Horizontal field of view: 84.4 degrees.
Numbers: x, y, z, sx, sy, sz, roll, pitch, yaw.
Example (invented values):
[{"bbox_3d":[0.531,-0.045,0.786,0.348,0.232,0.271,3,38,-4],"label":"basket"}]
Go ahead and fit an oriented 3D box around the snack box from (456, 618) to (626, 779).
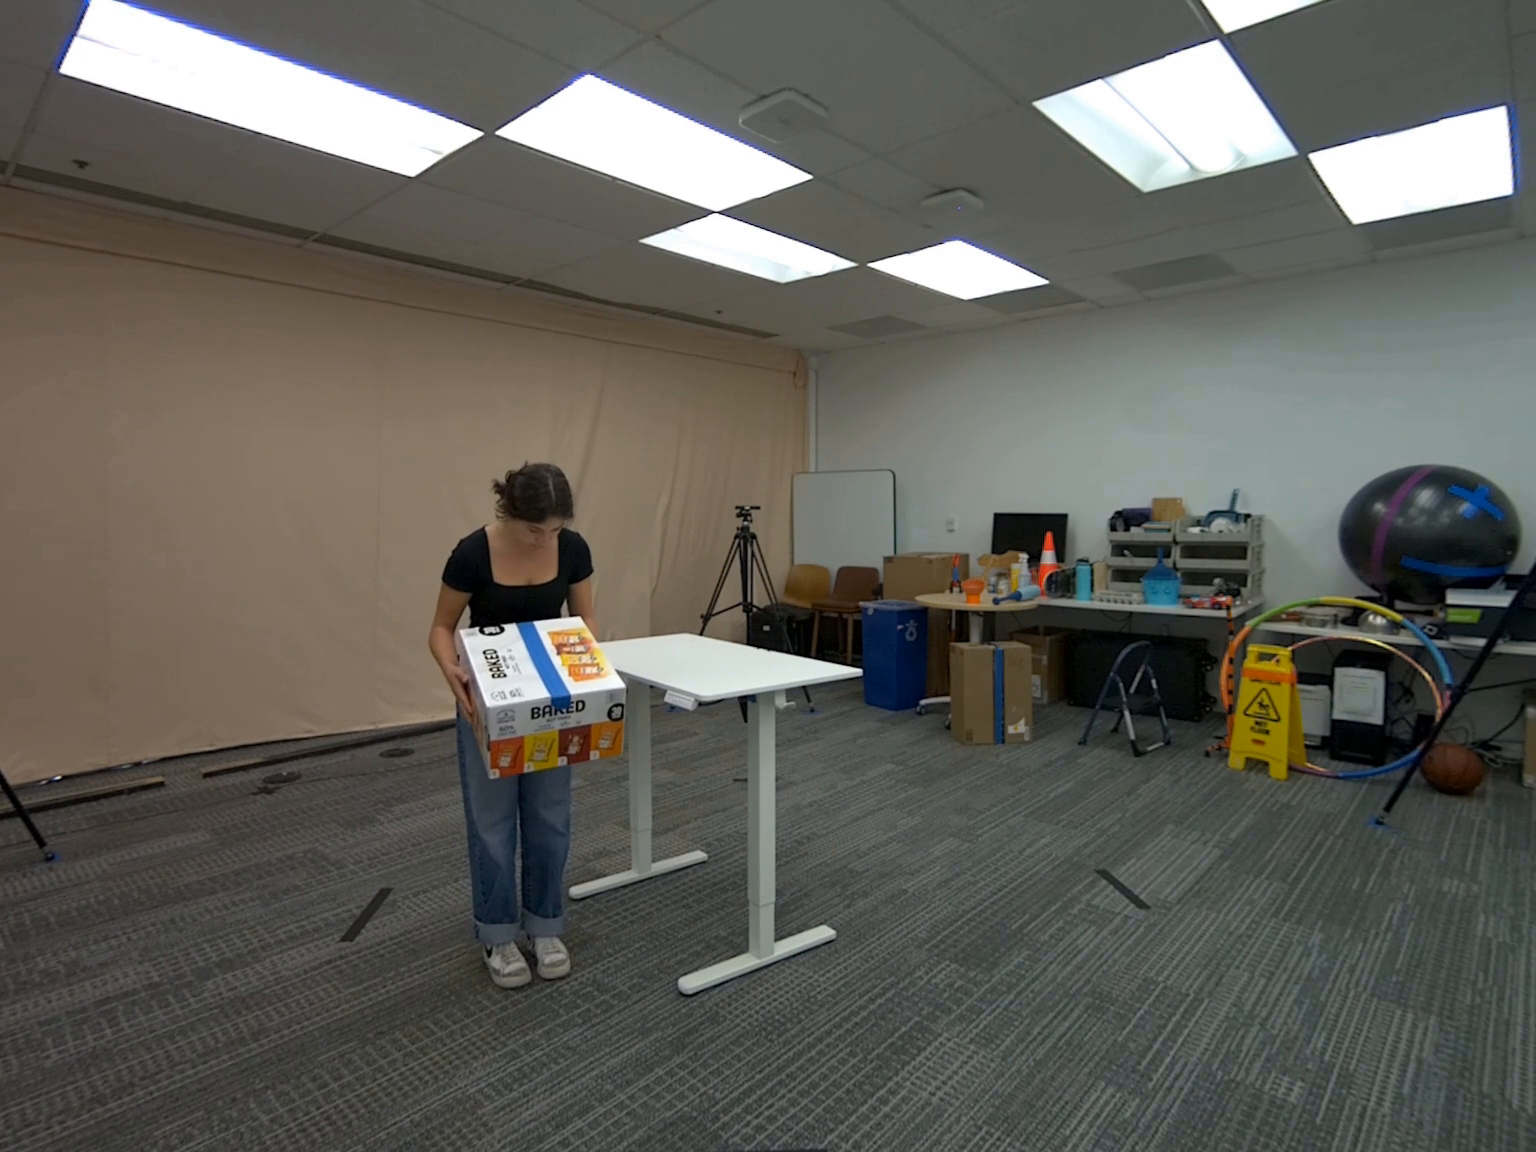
[{"bbox_3d":[-0.609,0.301,2.213,0.332,0.203,0.419,-6,25,-26],"label":"snack box"}]
